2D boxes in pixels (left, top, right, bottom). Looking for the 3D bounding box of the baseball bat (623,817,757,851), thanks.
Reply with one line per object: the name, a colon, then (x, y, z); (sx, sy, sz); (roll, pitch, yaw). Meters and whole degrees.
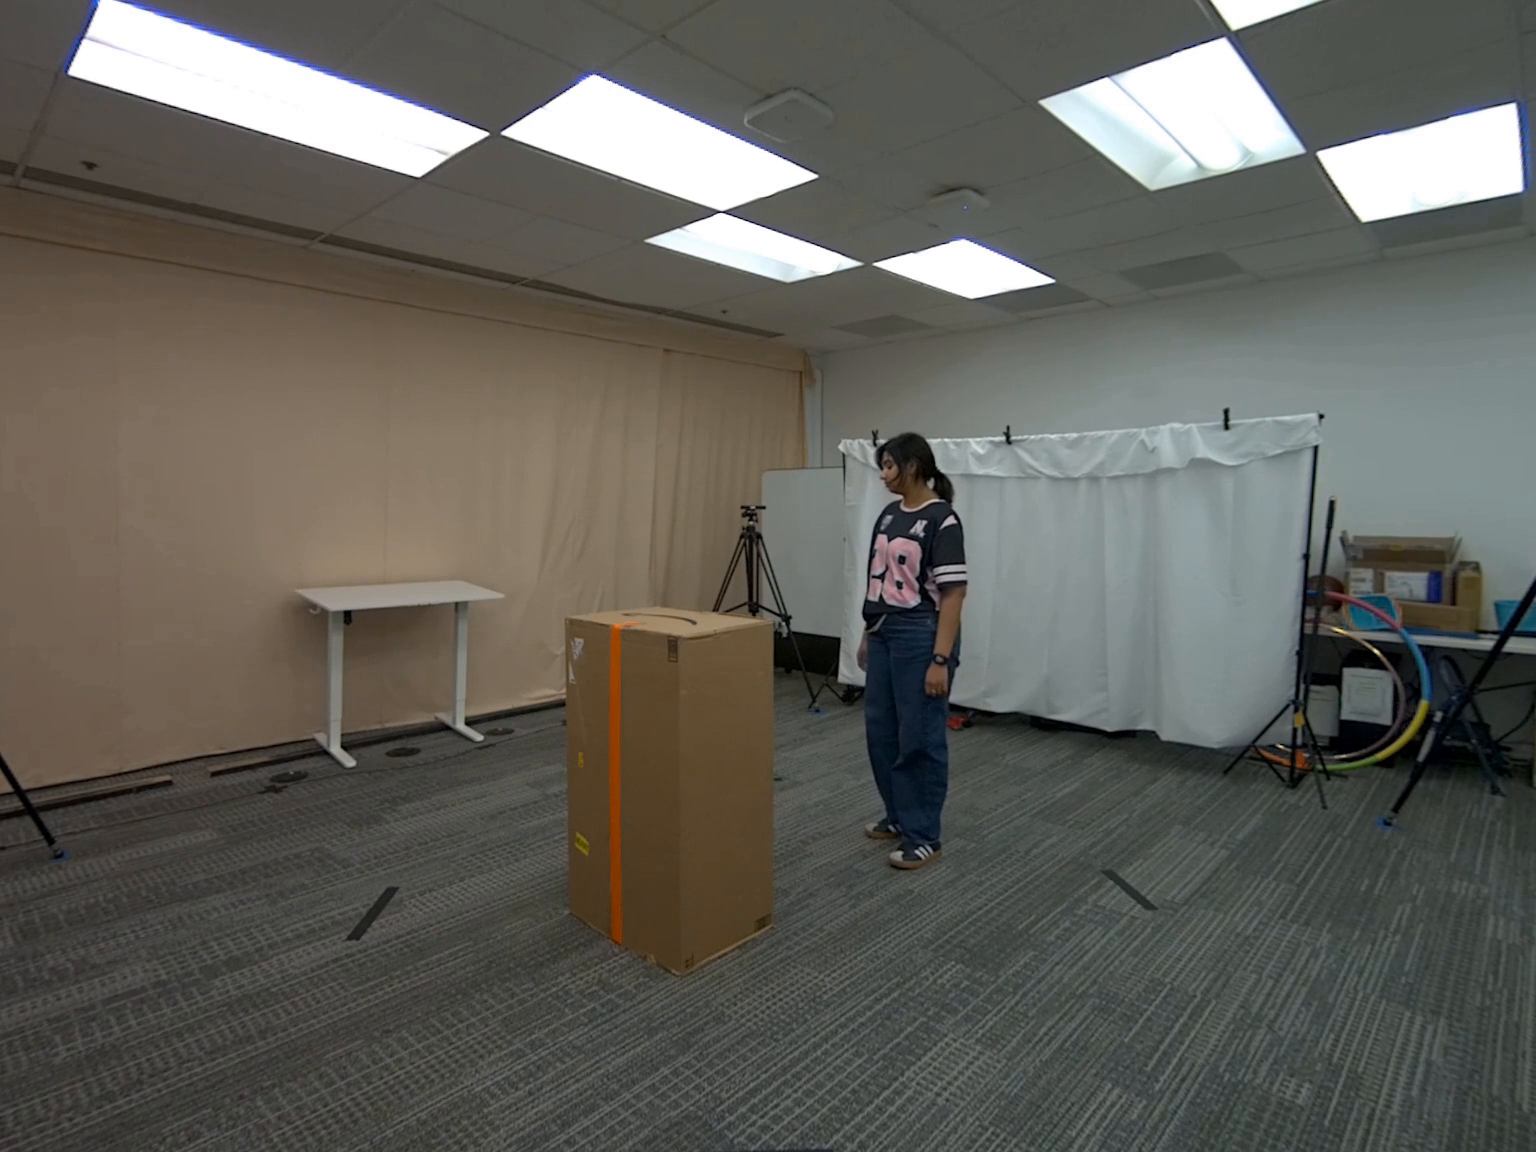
baseball bat: (-0.327, 1.067, 3.515); (0.538, 0.089, 0.090); (1, 3, -8)
